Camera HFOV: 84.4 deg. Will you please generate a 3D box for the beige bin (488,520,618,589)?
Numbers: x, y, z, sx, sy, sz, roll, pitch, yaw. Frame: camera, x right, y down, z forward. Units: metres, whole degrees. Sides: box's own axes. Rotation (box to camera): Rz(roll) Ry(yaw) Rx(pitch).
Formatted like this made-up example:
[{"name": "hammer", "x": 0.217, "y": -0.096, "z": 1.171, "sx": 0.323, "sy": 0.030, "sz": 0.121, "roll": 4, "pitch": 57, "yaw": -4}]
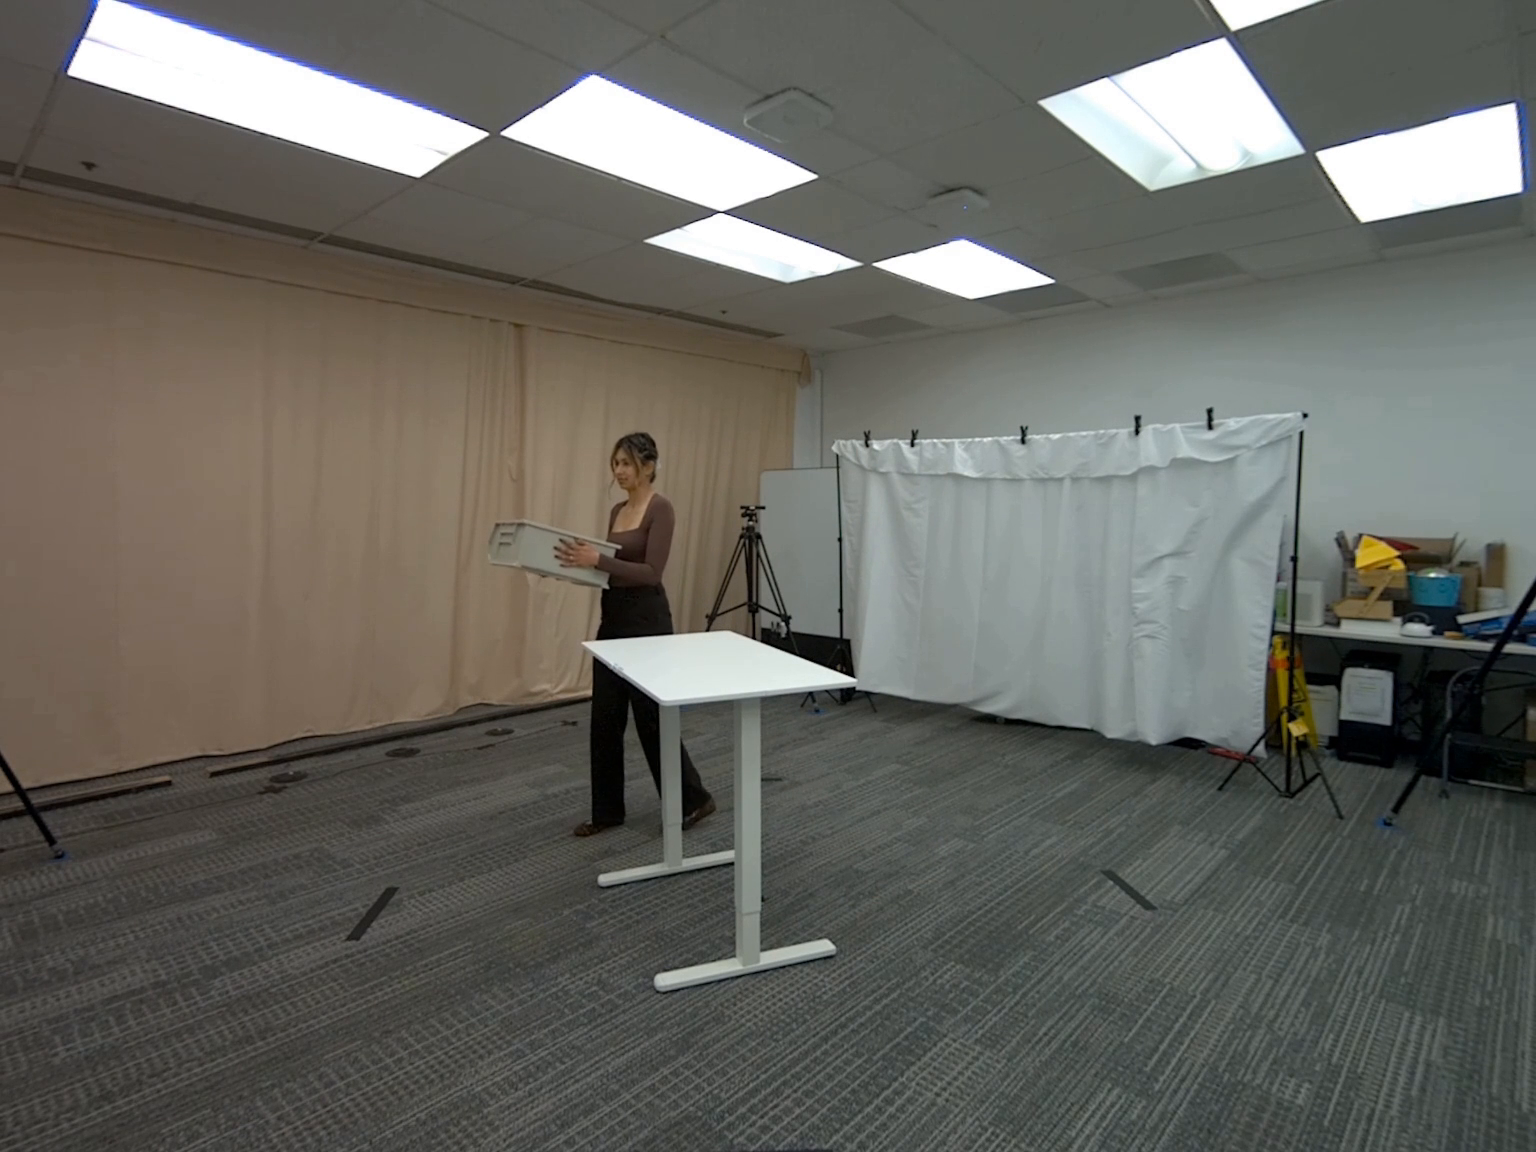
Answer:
[{"name": "beige bin", "x": -0.887, "y": -0.085, "z": 3.425, "sx": 0.409, "sy": 0.189, "sz": 0.389, "roll": 16, "pitch": -6, "yaw": -33}]
